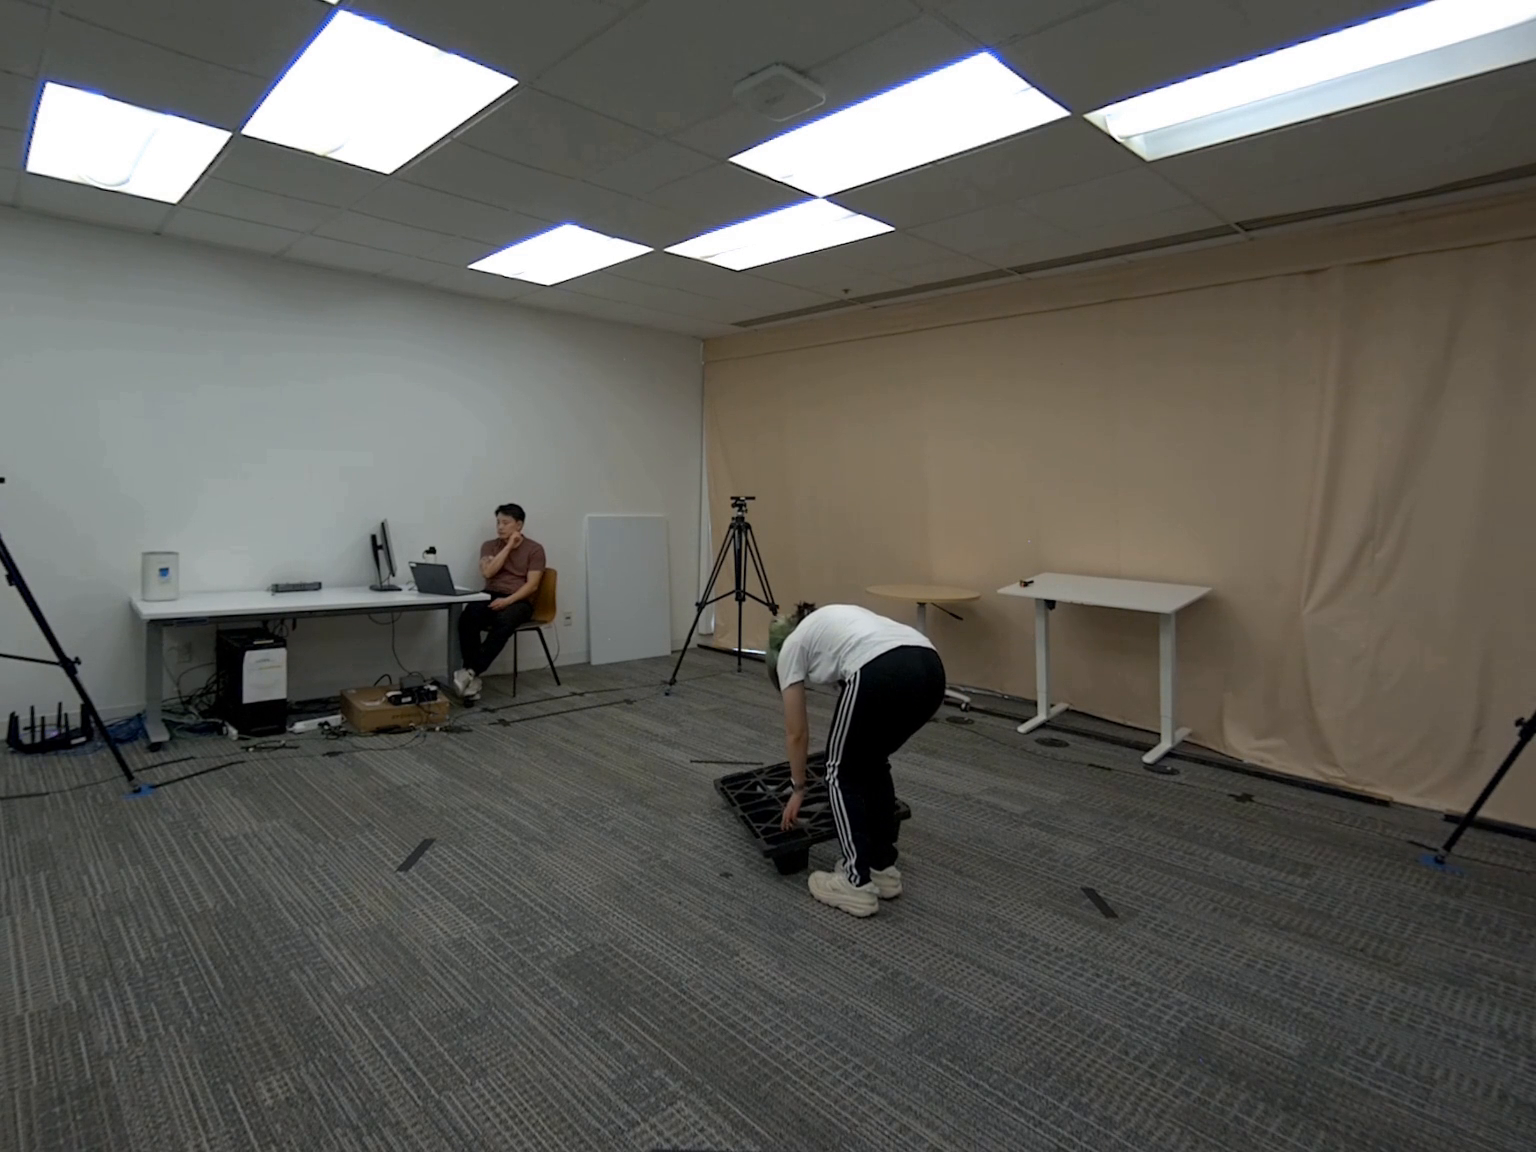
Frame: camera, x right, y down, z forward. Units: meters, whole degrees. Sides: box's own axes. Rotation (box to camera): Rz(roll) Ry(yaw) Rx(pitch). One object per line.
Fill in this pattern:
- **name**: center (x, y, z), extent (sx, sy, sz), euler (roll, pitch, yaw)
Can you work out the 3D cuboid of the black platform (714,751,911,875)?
- **black platform**: center (0.150, 0.966, 3.515), extent (0.599, 0.142, 0.818), euler (-11, 8, -15)
